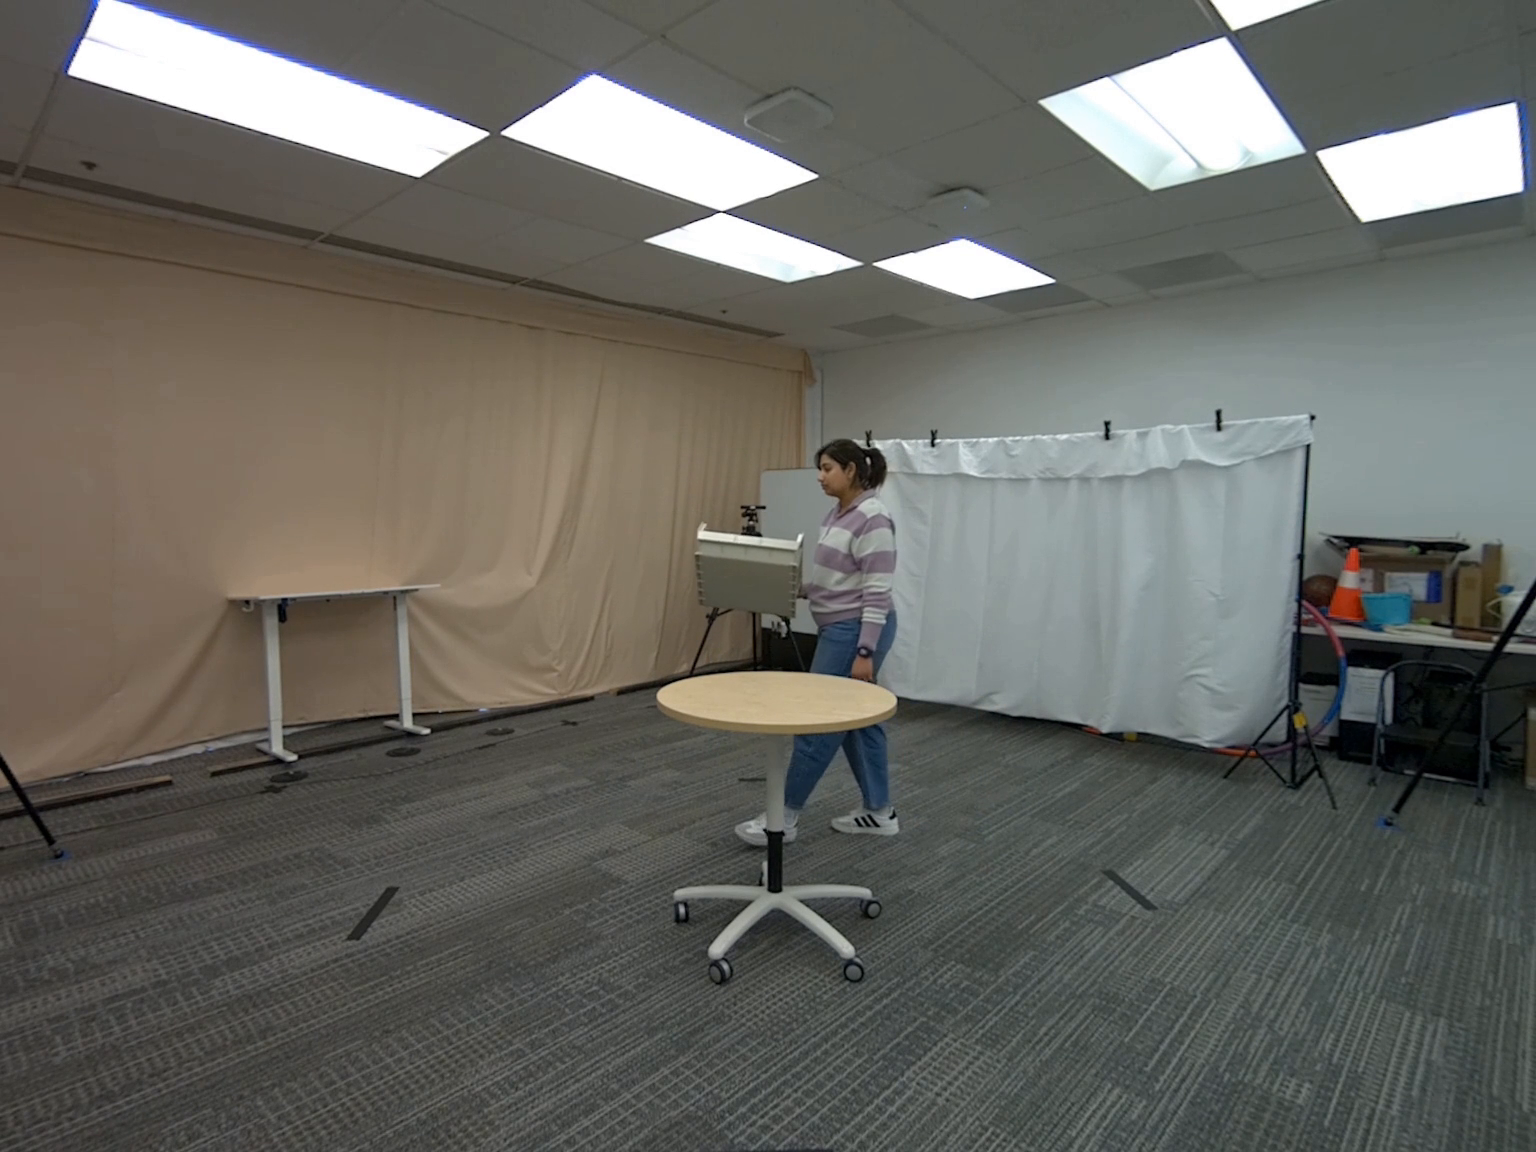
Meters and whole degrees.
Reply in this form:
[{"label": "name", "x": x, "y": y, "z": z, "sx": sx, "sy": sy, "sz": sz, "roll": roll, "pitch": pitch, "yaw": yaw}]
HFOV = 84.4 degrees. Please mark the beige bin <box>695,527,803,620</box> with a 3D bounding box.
[{"label": "beige bin", "x": -0.075, "y": -0.025, "z": 3.476, "sx": 0.427, "sy": 0.370, "sz": 0.190, "roll": 7, "pitch": 43, "yaw": 9}]
